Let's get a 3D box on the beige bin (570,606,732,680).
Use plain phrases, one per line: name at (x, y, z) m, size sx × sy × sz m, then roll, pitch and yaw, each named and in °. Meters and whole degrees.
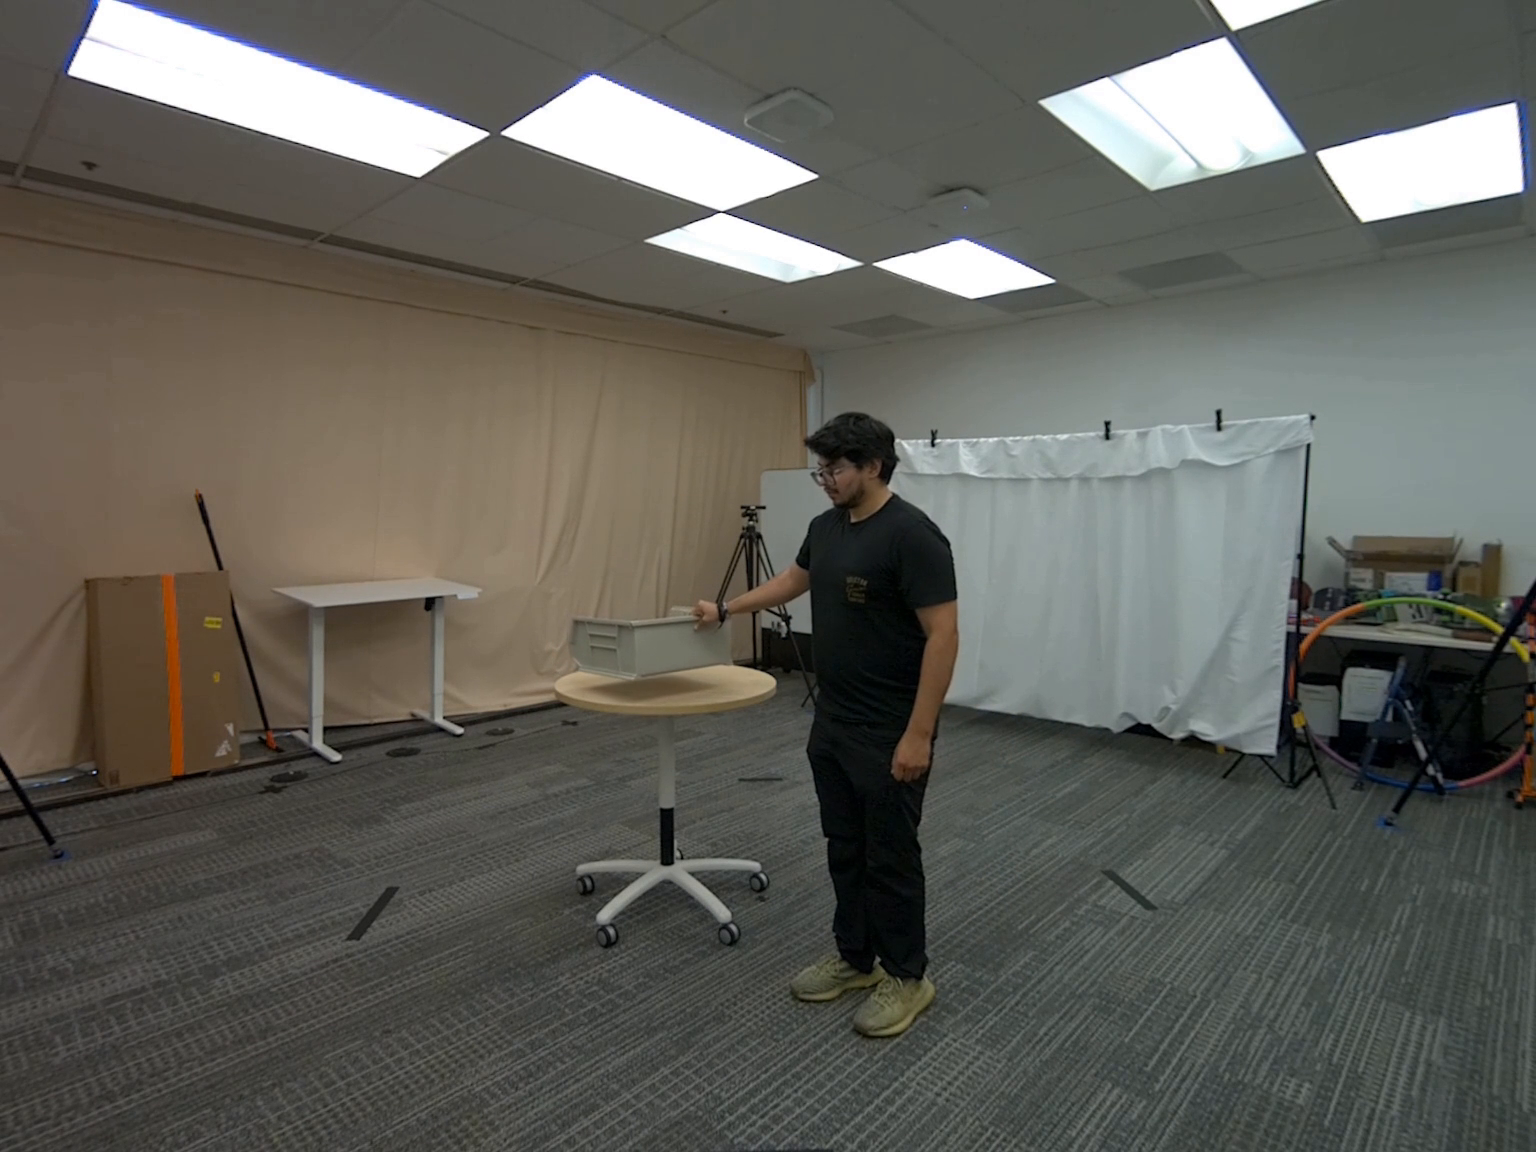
beige bin at (-0.386, 0.215, 2.803) m, size 0.409 × 0.189 × 0.389 m, roll -3°, pitch 3°, yaw -42°
